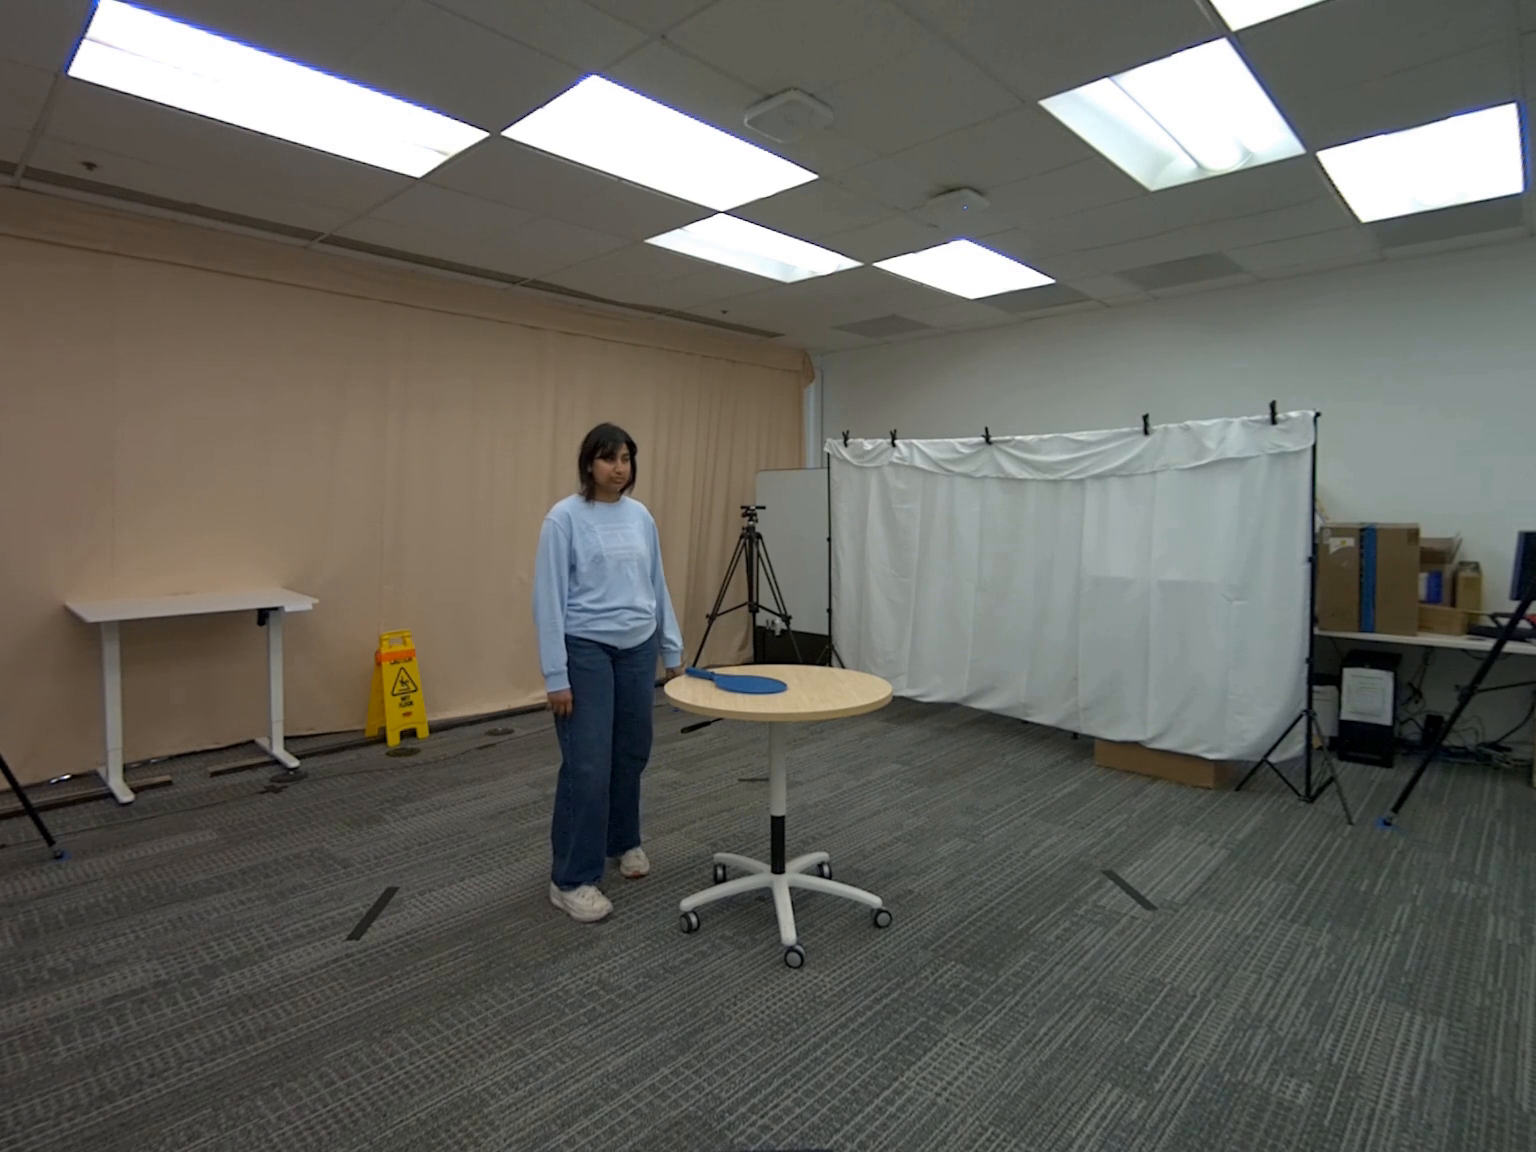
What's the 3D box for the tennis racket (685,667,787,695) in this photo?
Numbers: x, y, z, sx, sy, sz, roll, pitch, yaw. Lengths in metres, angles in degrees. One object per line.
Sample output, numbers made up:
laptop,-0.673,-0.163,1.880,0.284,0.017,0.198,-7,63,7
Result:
tennis racket,-0.134,0.366,2.884,0.448,0.032,0.207,6,6,43
